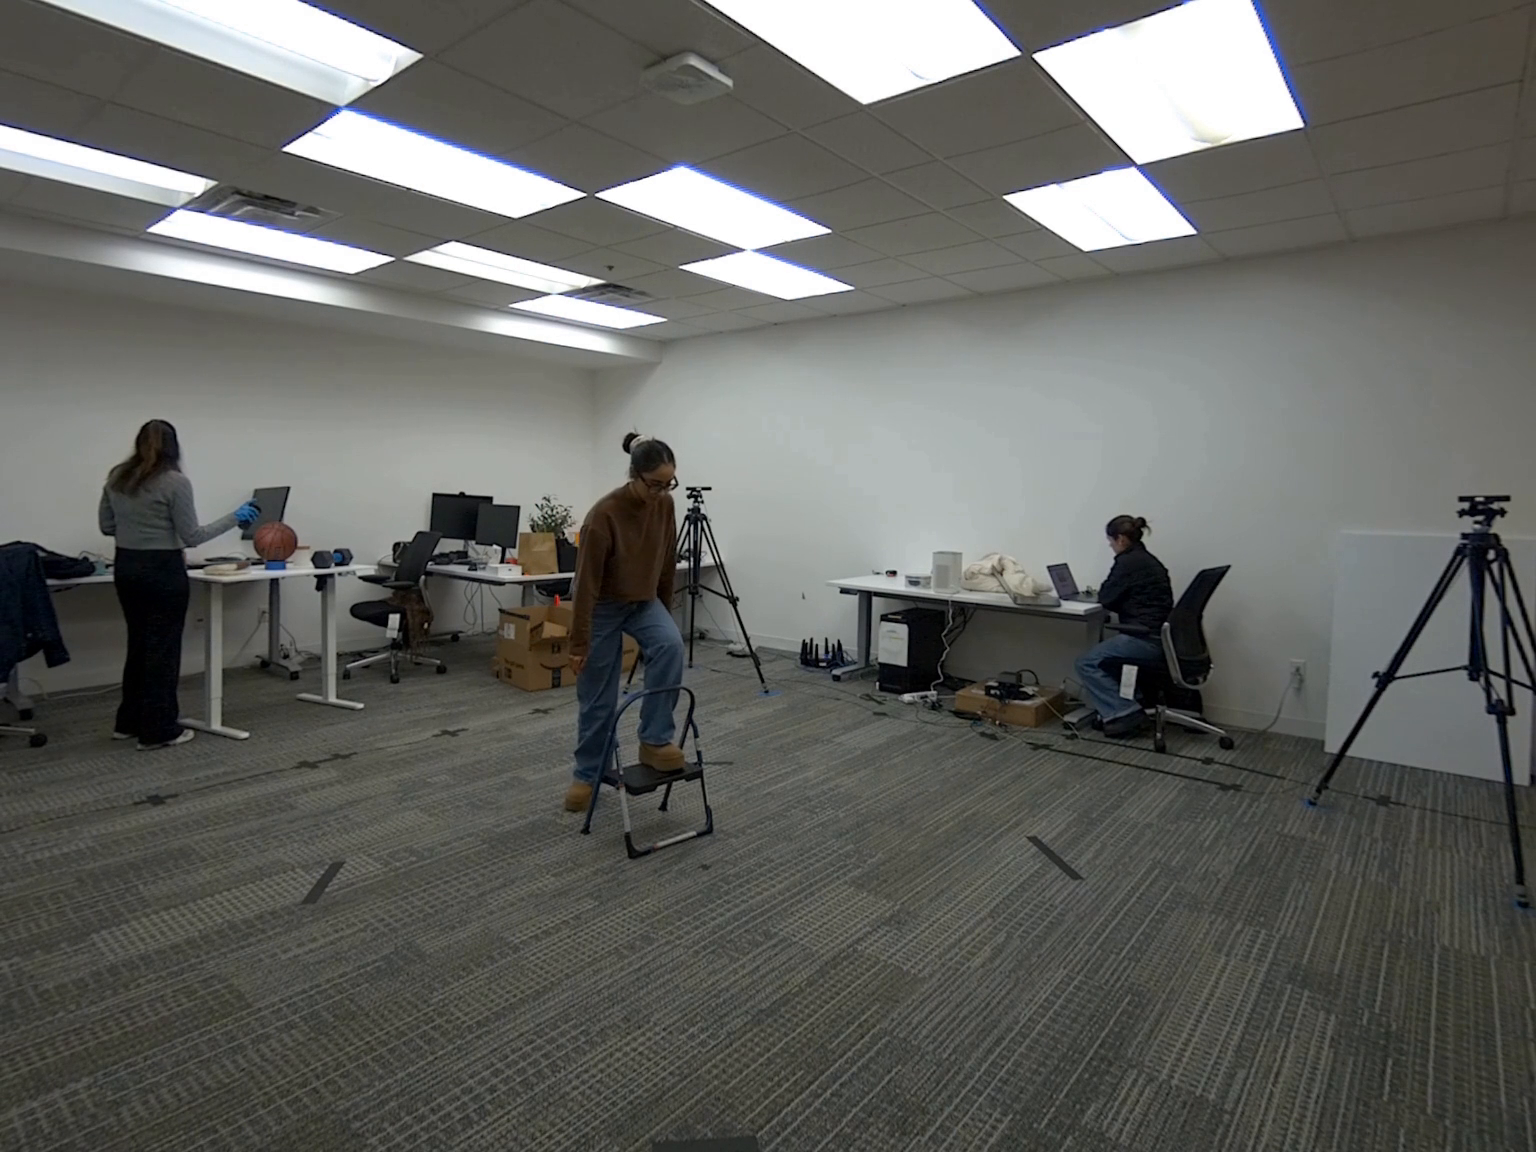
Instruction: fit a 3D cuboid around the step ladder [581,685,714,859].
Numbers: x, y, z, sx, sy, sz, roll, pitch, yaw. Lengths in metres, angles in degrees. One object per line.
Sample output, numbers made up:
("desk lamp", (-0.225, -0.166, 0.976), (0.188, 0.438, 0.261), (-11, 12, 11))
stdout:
("step ladder", (-0.488, 0.730, 3.415), (0.417, 0.604, 0.361), (-2, 5, -44))
